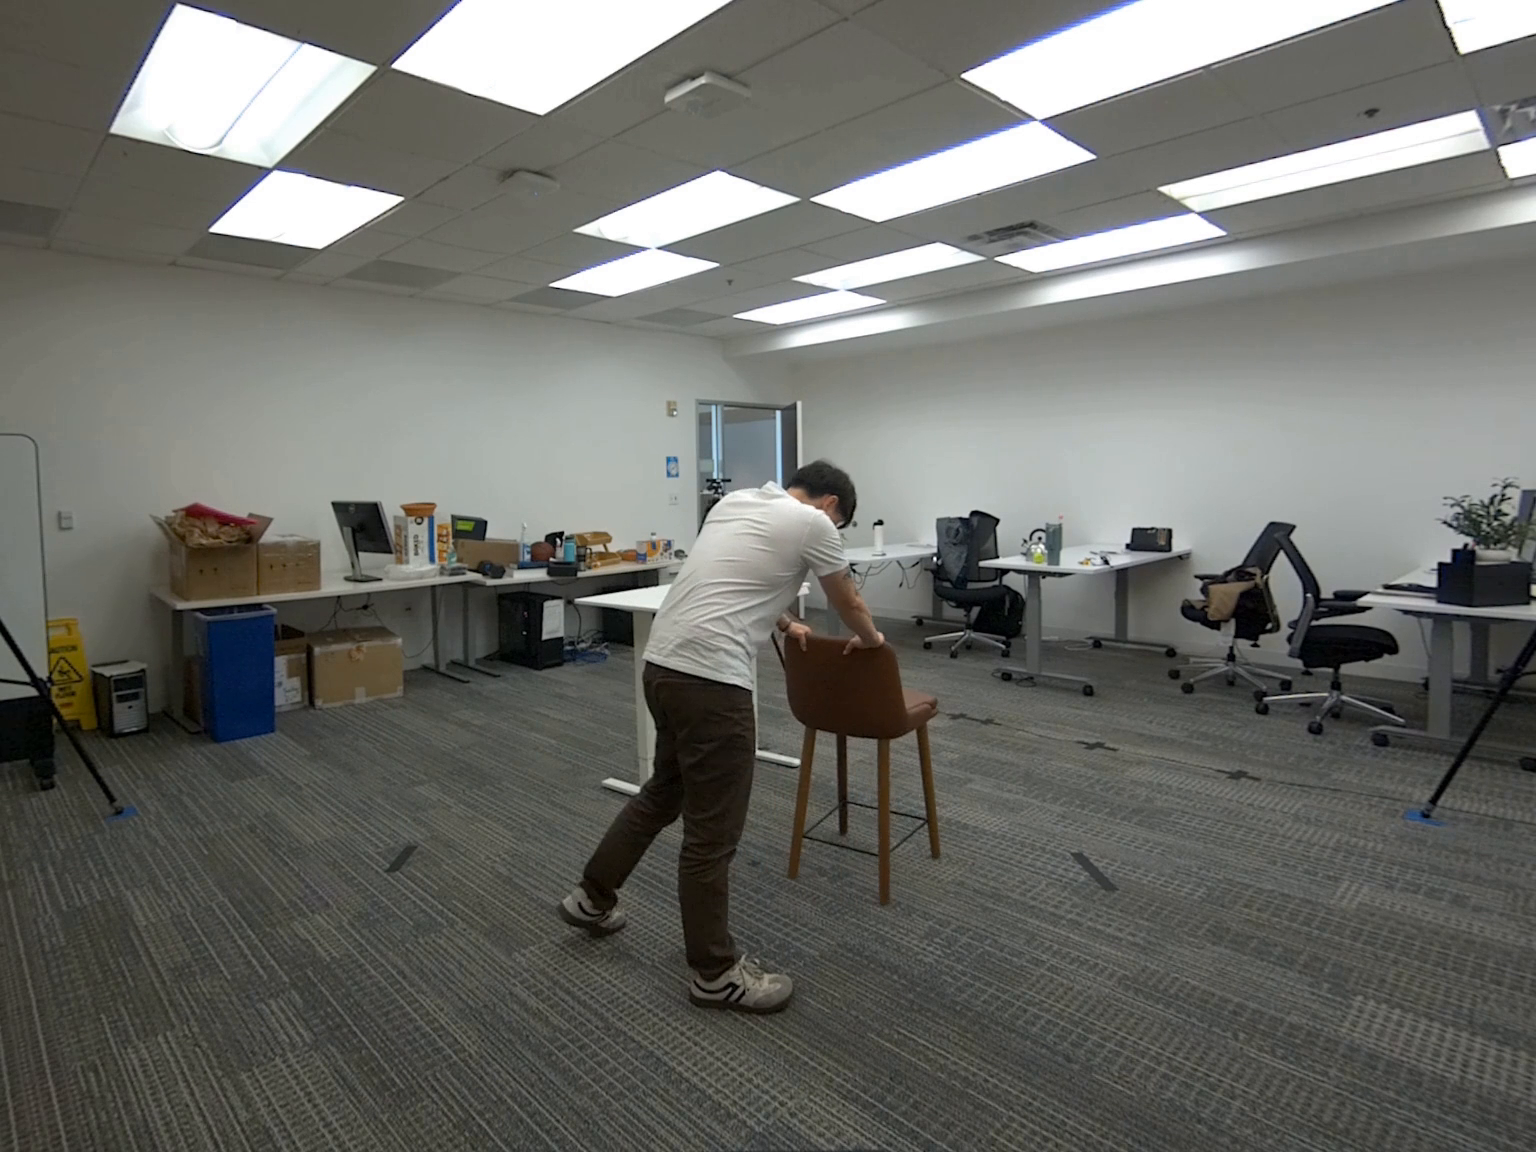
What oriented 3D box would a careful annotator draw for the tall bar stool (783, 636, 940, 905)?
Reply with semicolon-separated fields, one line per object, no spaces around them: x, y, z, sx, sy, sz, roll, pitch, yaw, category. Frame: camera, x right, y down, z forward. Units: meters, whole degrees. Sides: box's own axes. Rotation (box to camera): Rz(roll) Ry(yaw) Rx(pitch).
0.336;0.607;3.036;0.469;0.885;0.457;2;7;34;tall bar stool
